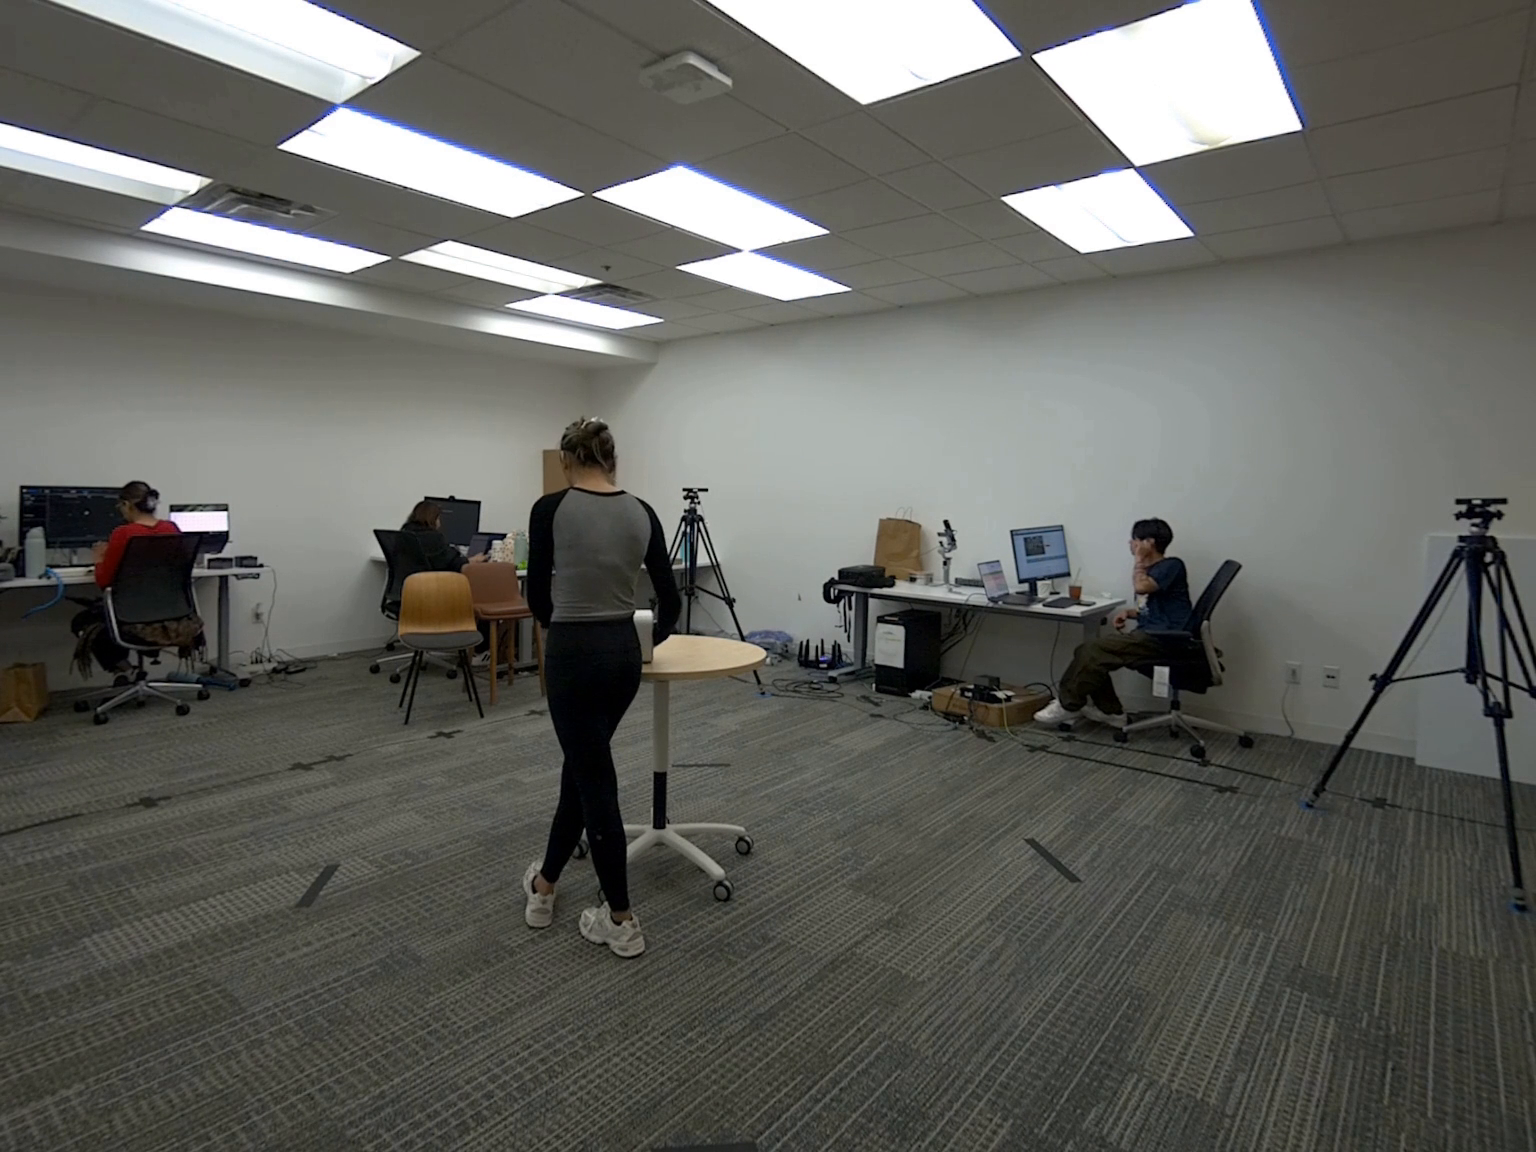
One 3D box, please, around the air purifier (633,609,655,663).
[{"bbox_3d":[-0.540,0.202,2.913,0.263,0.171,0.173,0,5,-10],"label":"air purifier"}]
